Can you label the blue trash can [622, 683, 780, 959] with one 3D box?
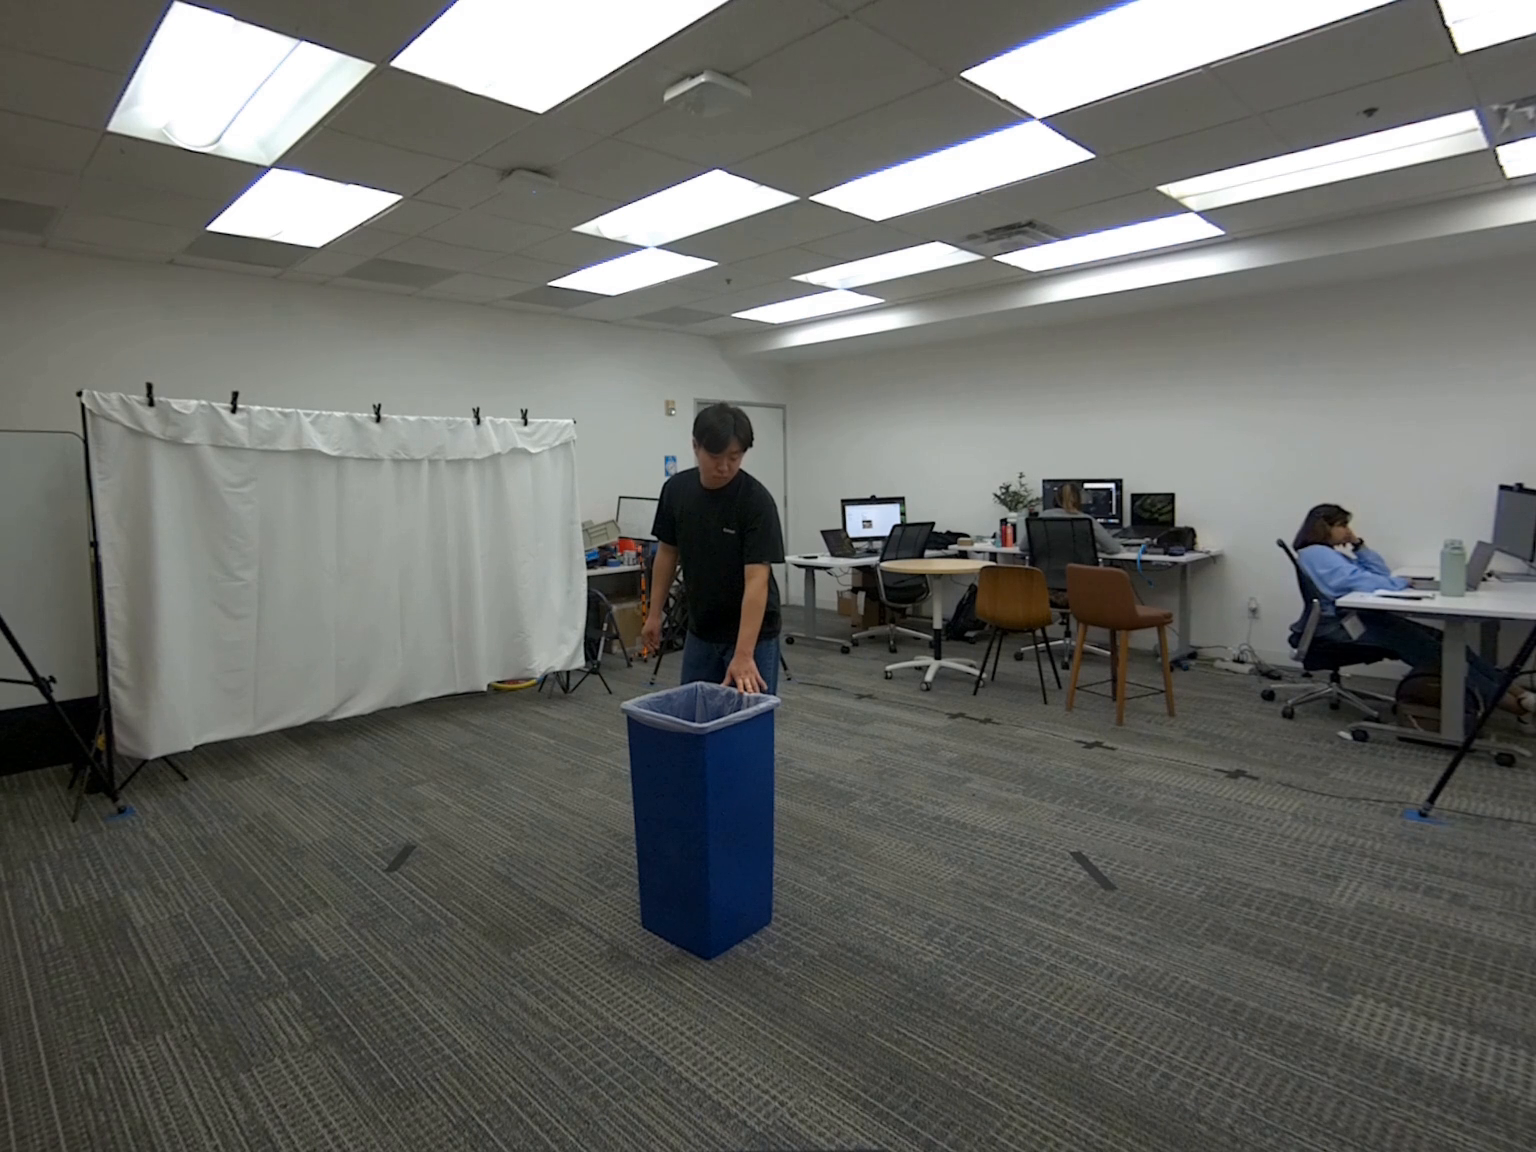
[{"bbox_3d":[-0.201,0.743,2.654,0.389,0.711,0.364,2,5,40],"label":"blue trash can"}]
